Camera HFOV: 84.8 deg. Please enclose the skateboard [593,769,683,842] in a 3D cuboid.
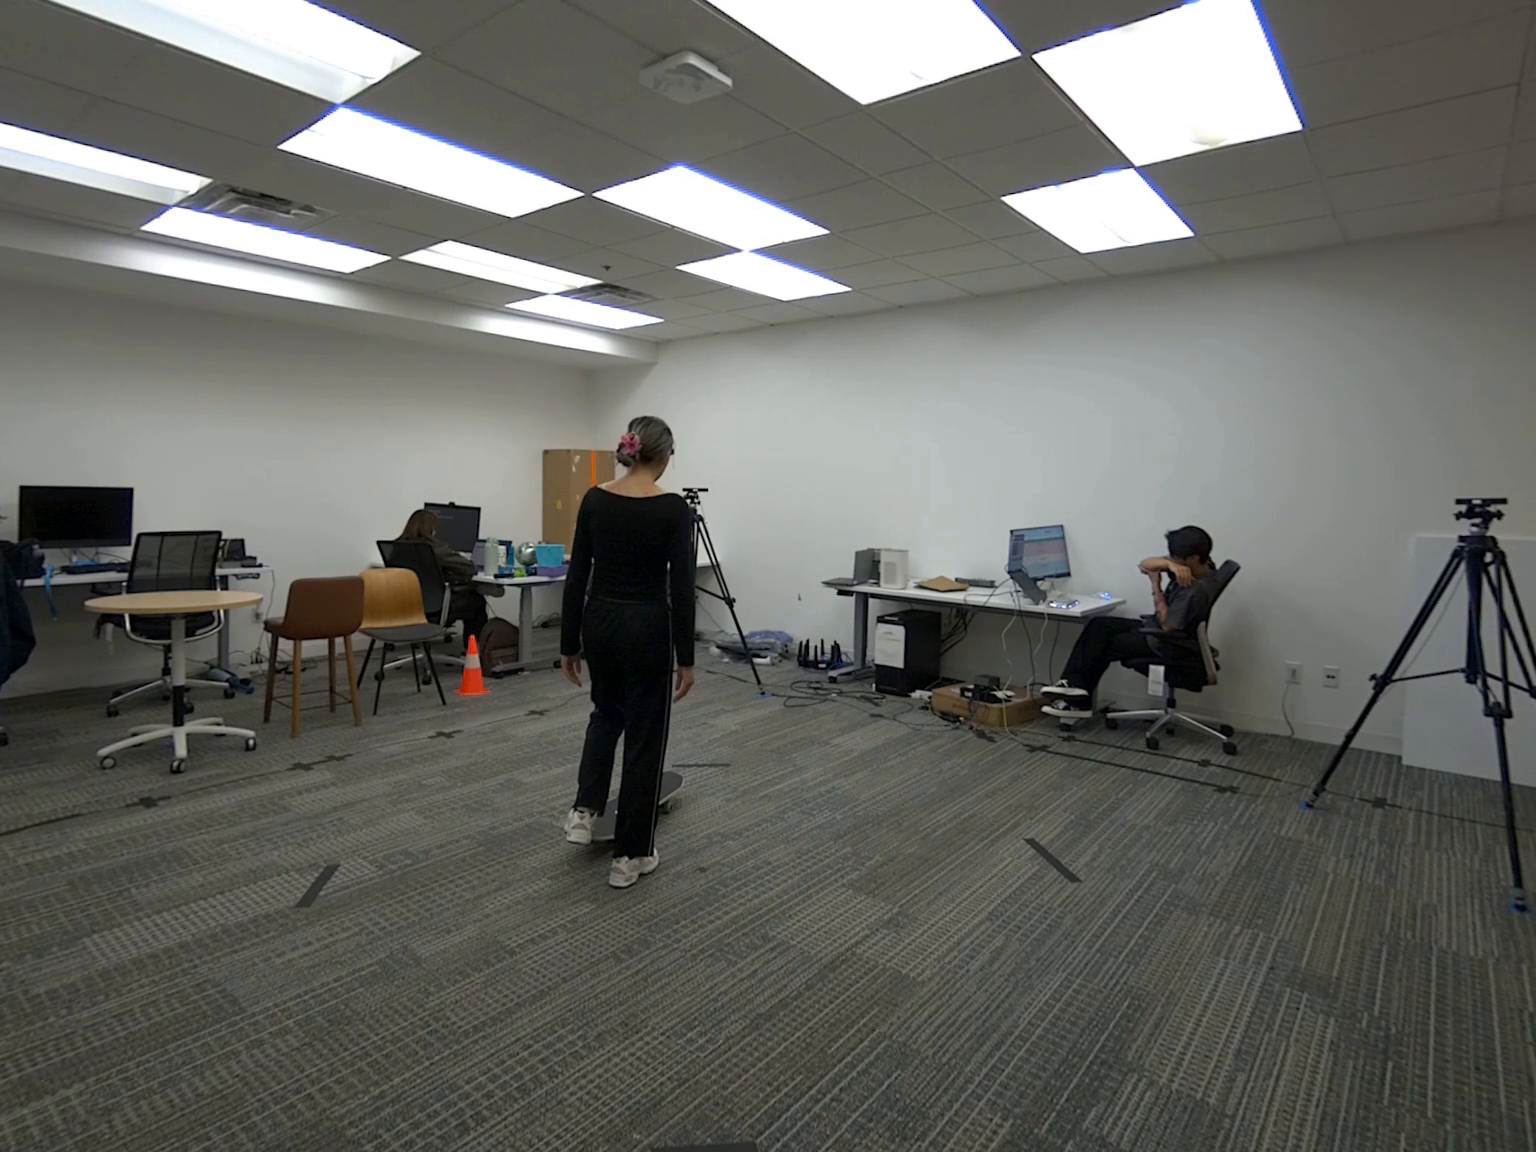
[{"bbox_3d":[-0.574,0.969,3.491,0.198,0.110,0.771,3,6,19],"label":"skateboard"}]
